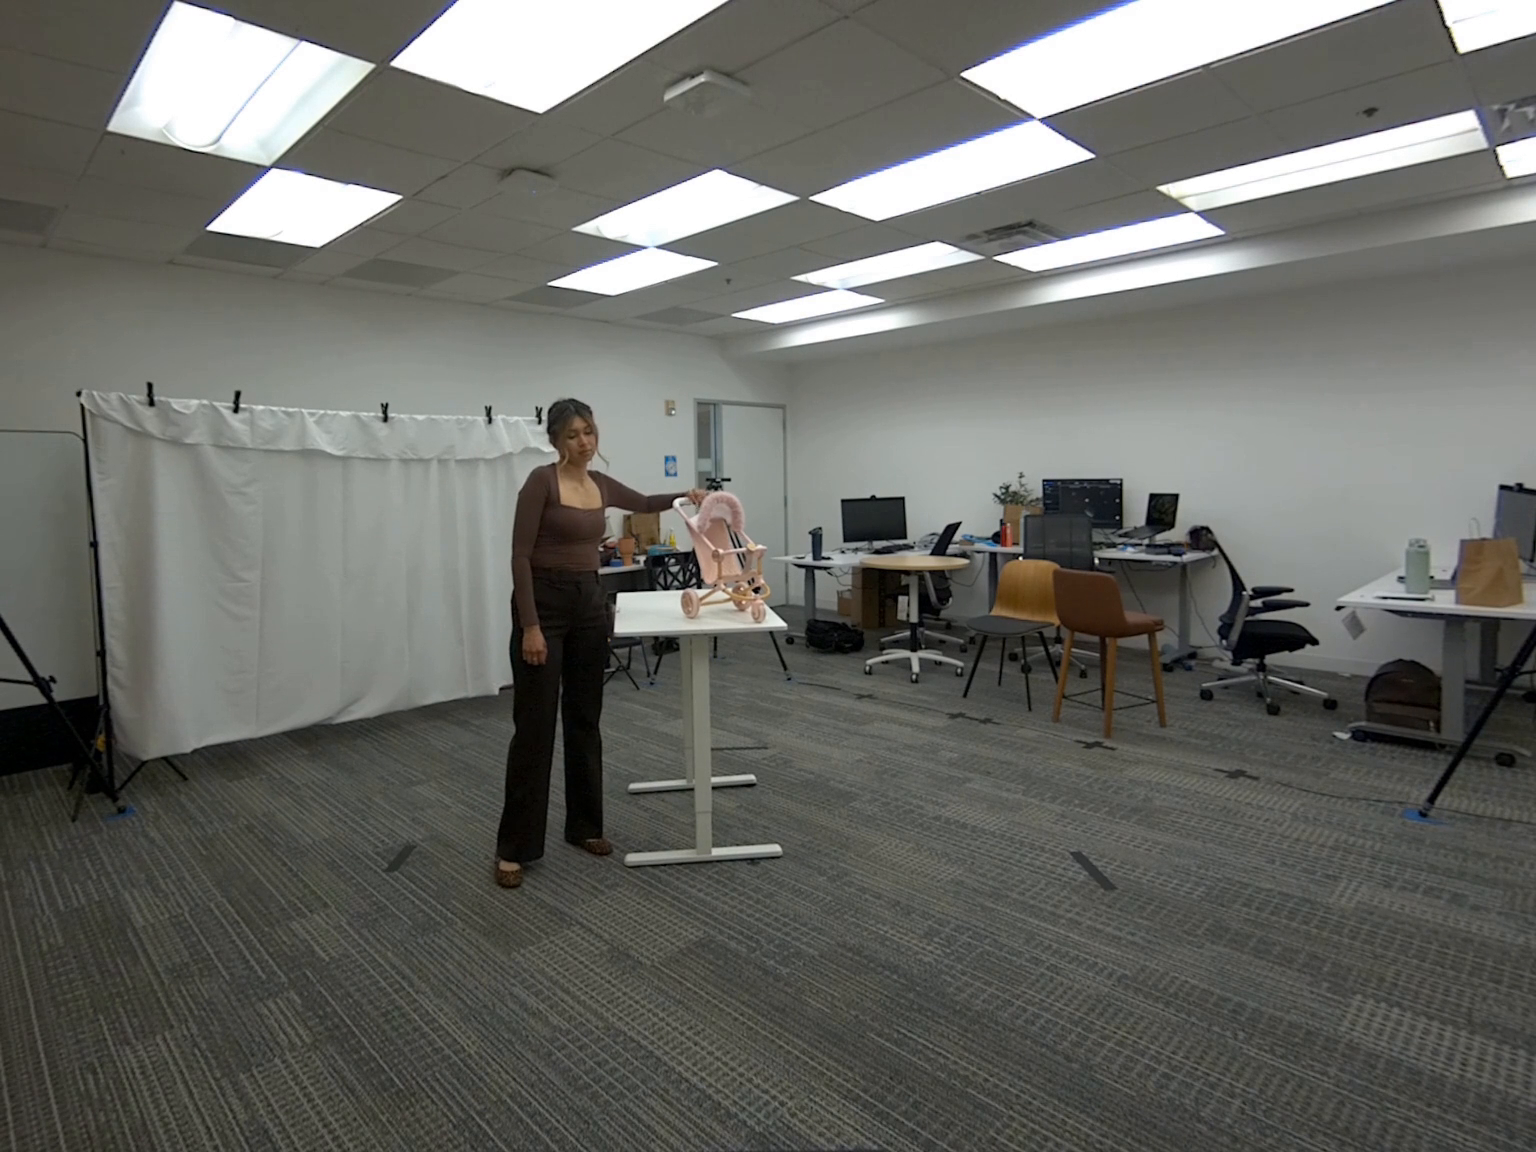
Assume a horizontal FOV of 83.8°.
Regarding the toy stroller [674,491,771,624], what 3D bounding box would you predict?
[{"bbox_3d":[-0.158,-0.076,3.188,0.274,0.539,0.347,-5,-8,-36],"label":"toy stroller"}]
